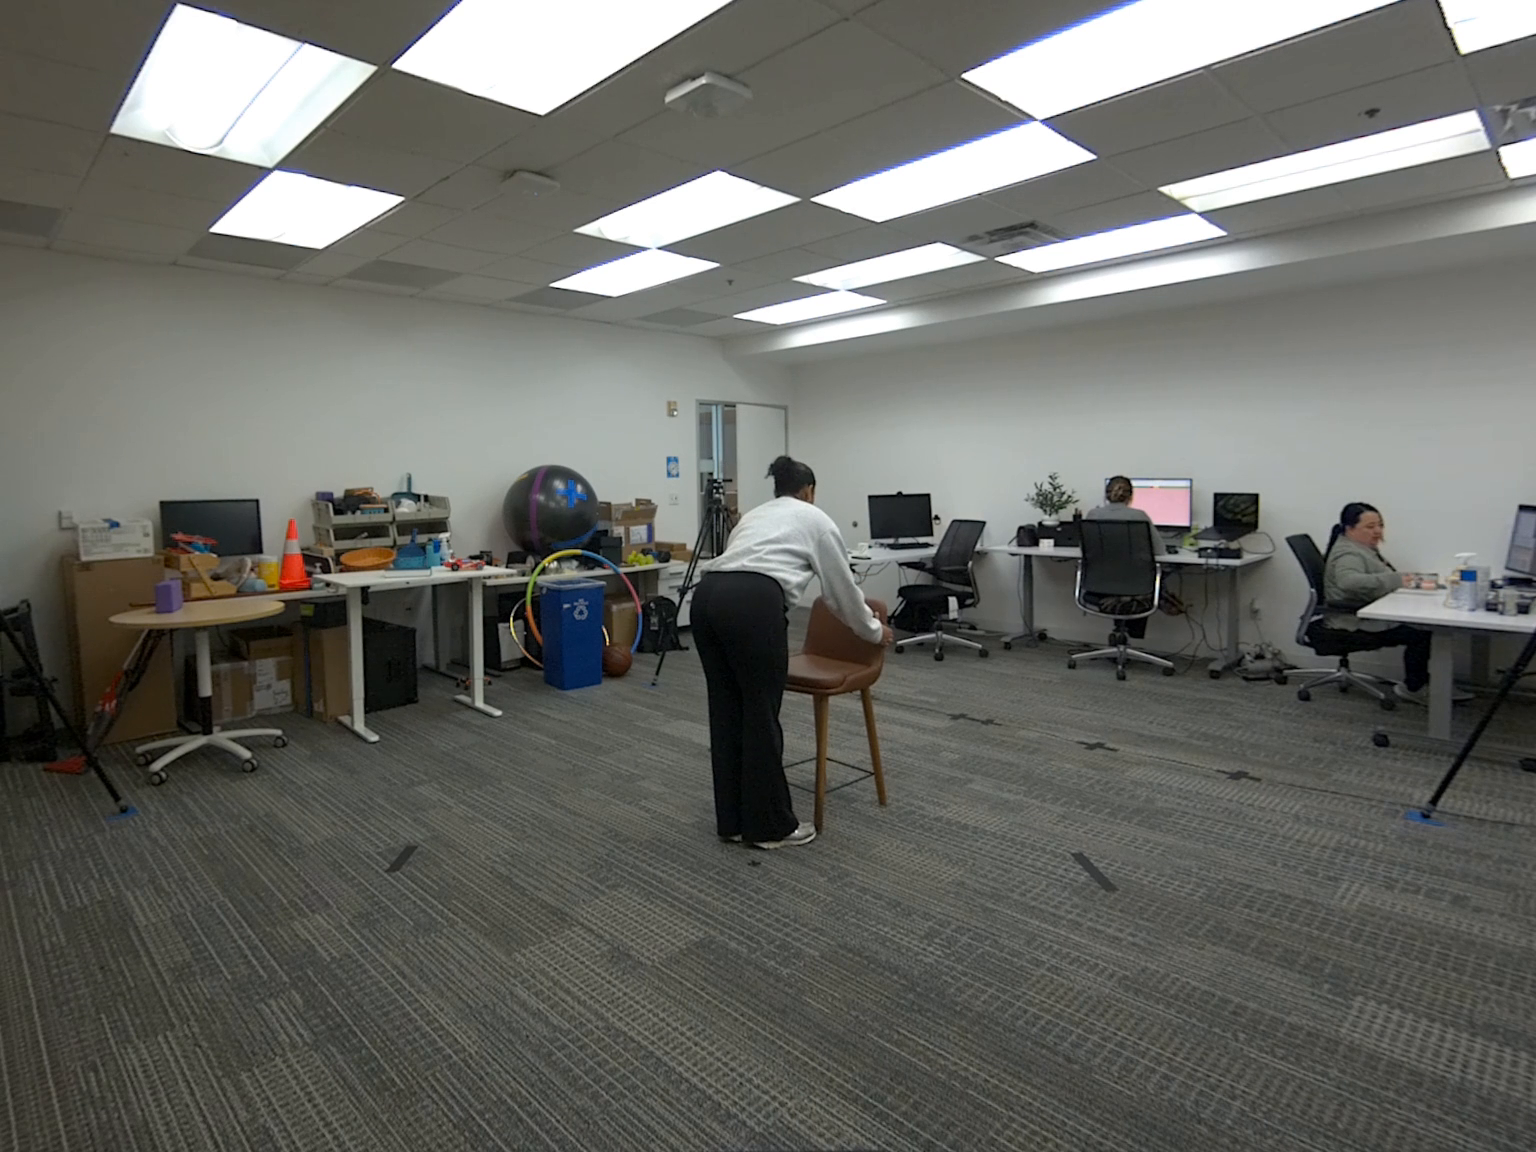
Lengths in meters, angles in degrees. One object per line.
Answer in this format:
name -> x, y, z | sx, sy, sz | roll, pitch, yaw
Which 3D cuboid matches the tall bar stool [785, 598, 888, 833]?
tall bar stool -> 0.222, 0.546, 3.624 | 0.454, 0.888, 0.470 | -1, 4, -42
